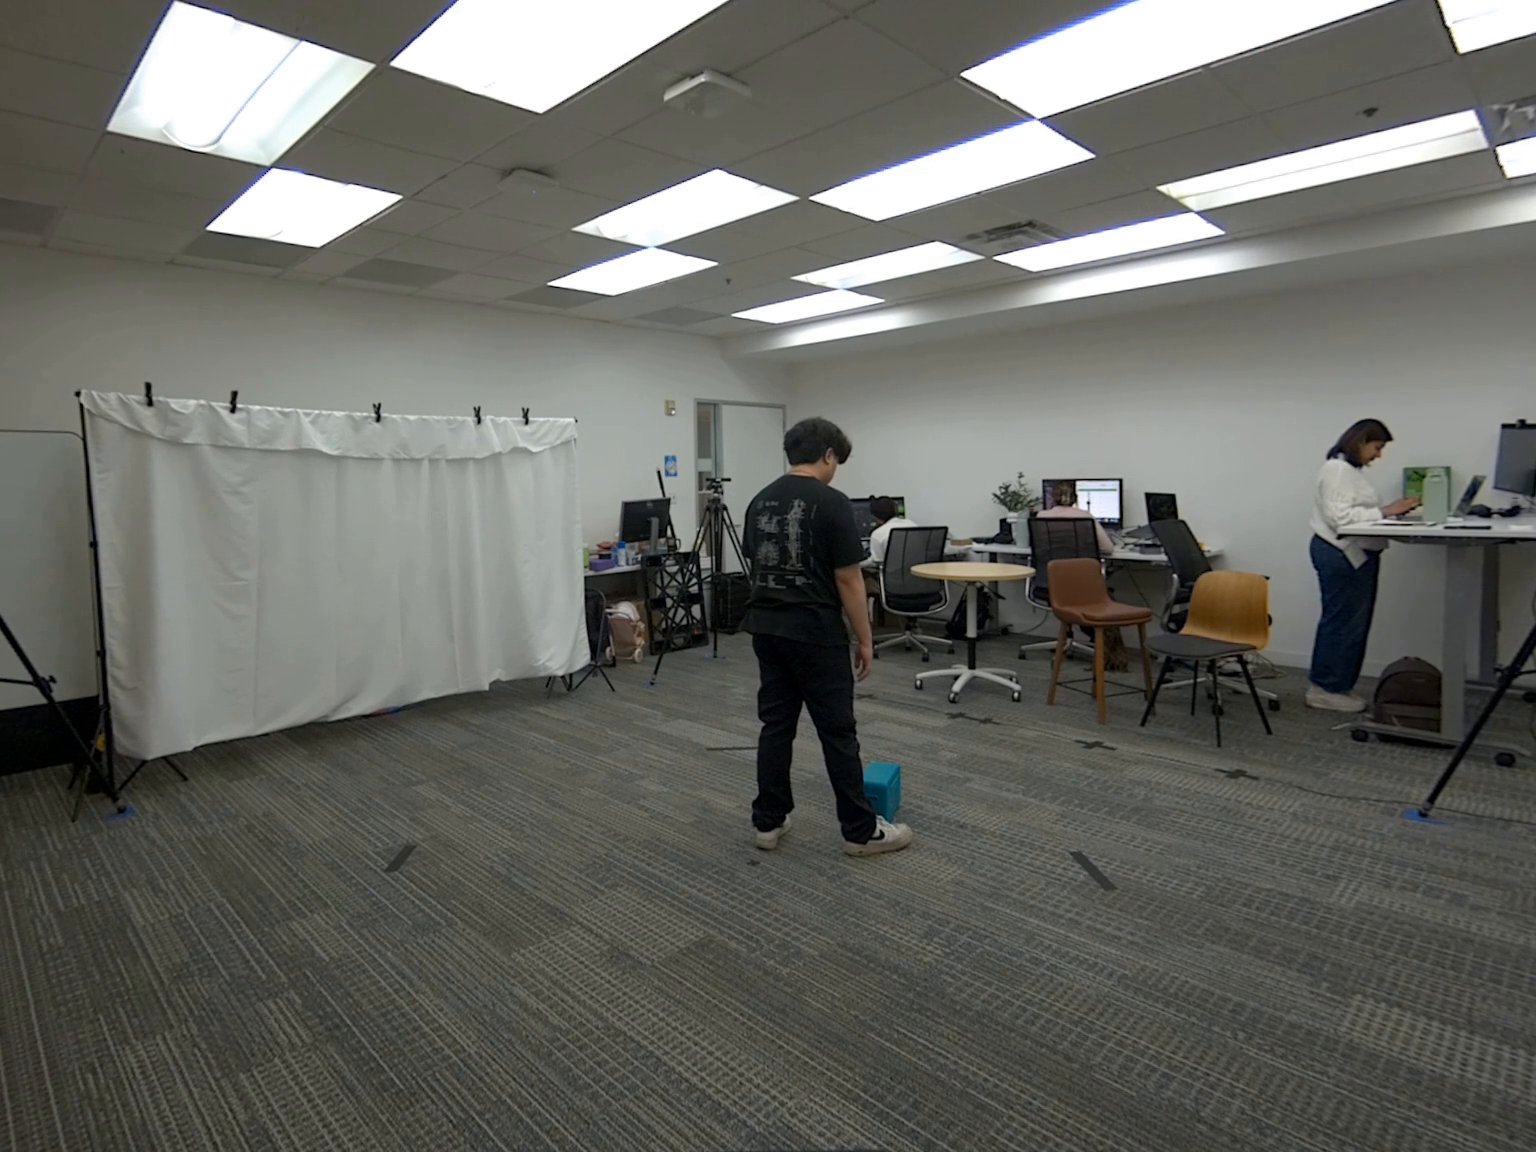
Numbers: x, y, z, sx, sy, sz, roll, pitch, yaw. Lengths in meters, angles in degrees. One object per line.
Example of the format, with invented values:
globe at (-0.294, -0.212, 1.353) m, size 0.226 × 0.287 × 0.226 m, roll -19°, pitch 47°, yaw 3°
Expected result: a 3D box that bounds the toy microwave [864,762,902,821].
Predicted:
toy microwave at (0.449, 0.893, 3.528) m, size 0.155 × 0.183 × 0.281 m, roll 1°, pitch 6°, yaw 21°
